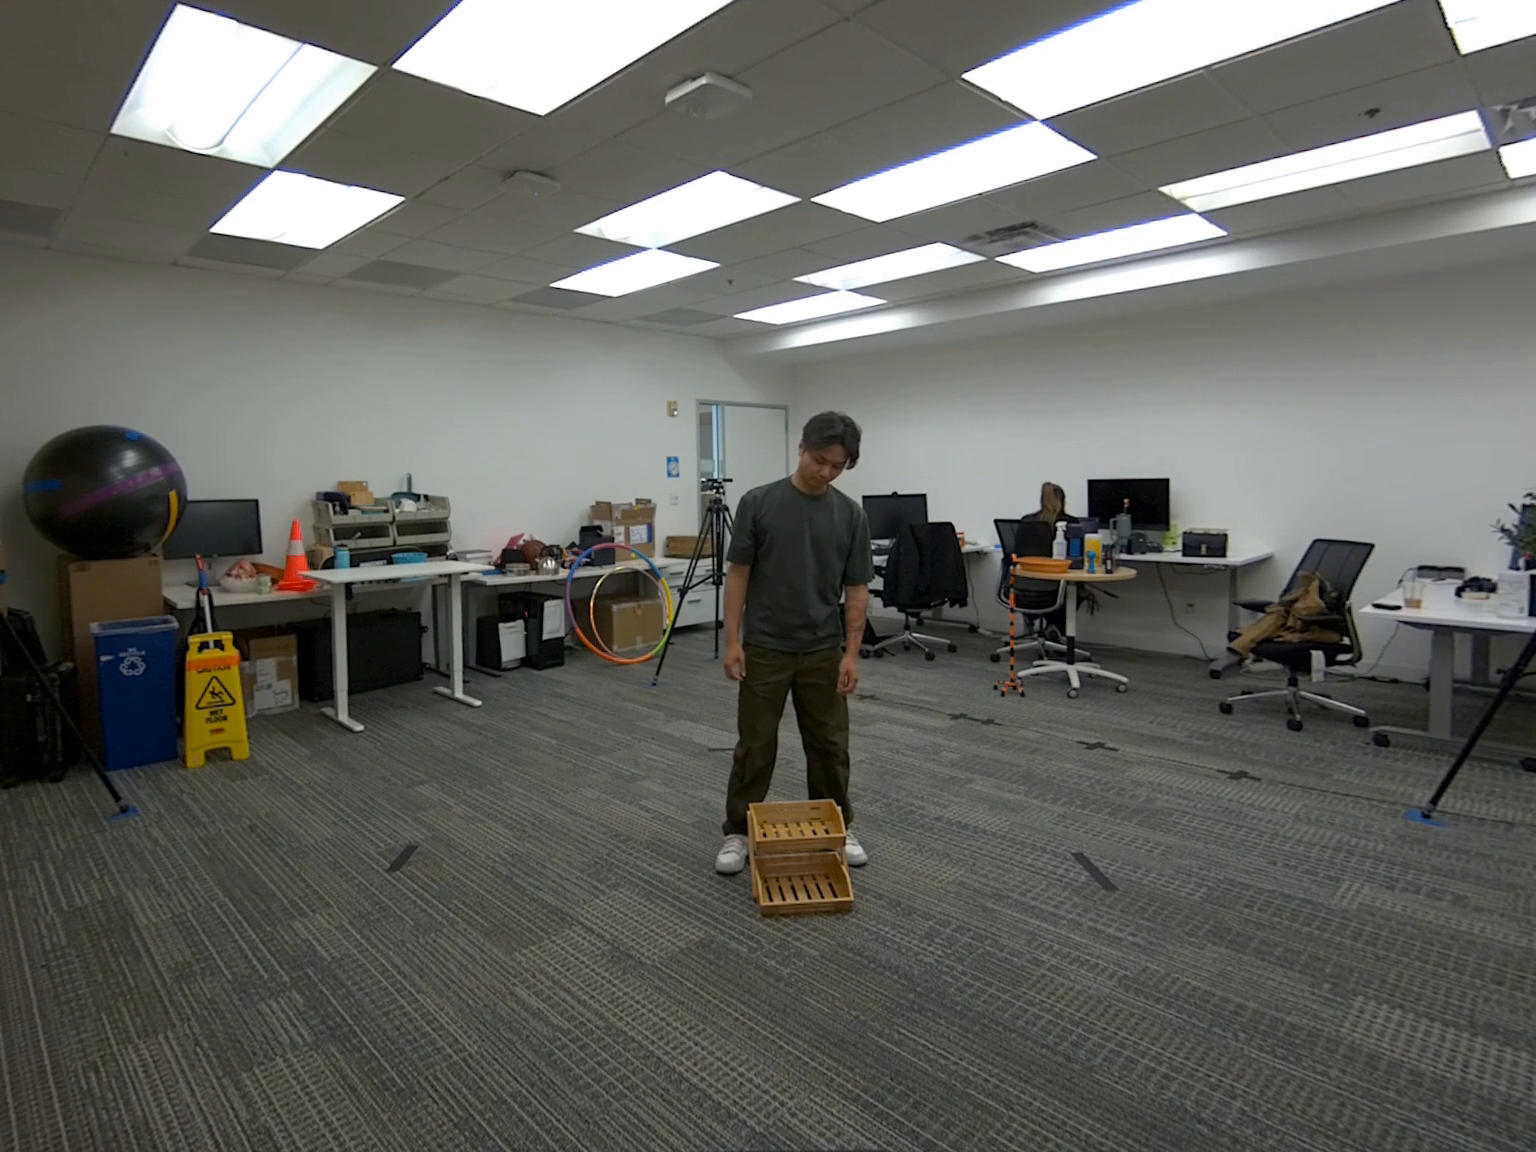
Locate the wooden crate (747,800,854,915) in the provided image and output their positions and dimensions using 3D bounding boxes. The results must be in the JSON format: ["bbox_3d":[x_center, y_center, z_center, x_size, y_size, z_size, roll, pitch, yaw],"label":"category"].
[{"bbox_3d":[0.112,0.944,2.857,0.323,0.272,0.305,-2,5,-6],"label":"wooden crate"}]
